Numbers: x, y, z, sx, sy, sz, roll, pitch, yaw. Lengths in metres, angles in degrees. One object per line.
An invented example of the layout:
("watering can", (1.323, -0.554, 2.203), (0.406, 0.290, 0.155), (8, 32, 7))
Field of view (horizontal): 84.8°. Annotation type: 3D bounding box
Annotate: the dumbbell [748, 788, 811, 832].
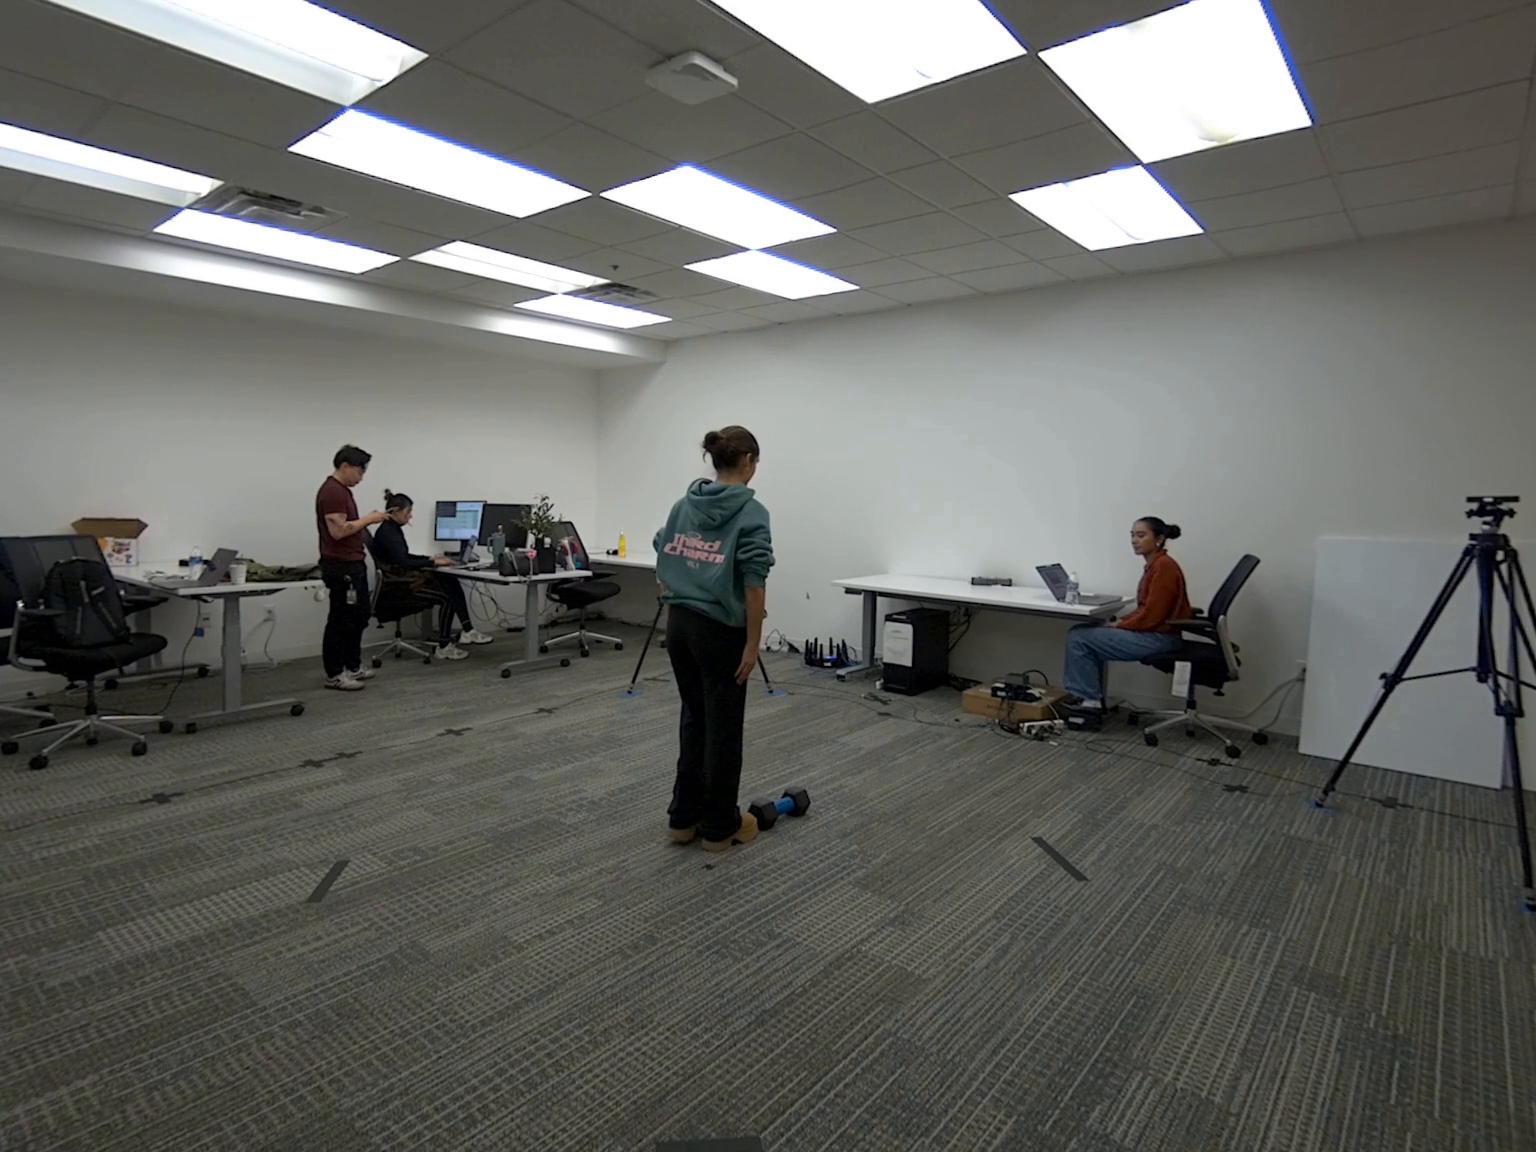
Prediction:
("dumbbell", (0.042, 0.970, 3.575), (0.285, 0.125, 0.110), (-5, -23, -47))
